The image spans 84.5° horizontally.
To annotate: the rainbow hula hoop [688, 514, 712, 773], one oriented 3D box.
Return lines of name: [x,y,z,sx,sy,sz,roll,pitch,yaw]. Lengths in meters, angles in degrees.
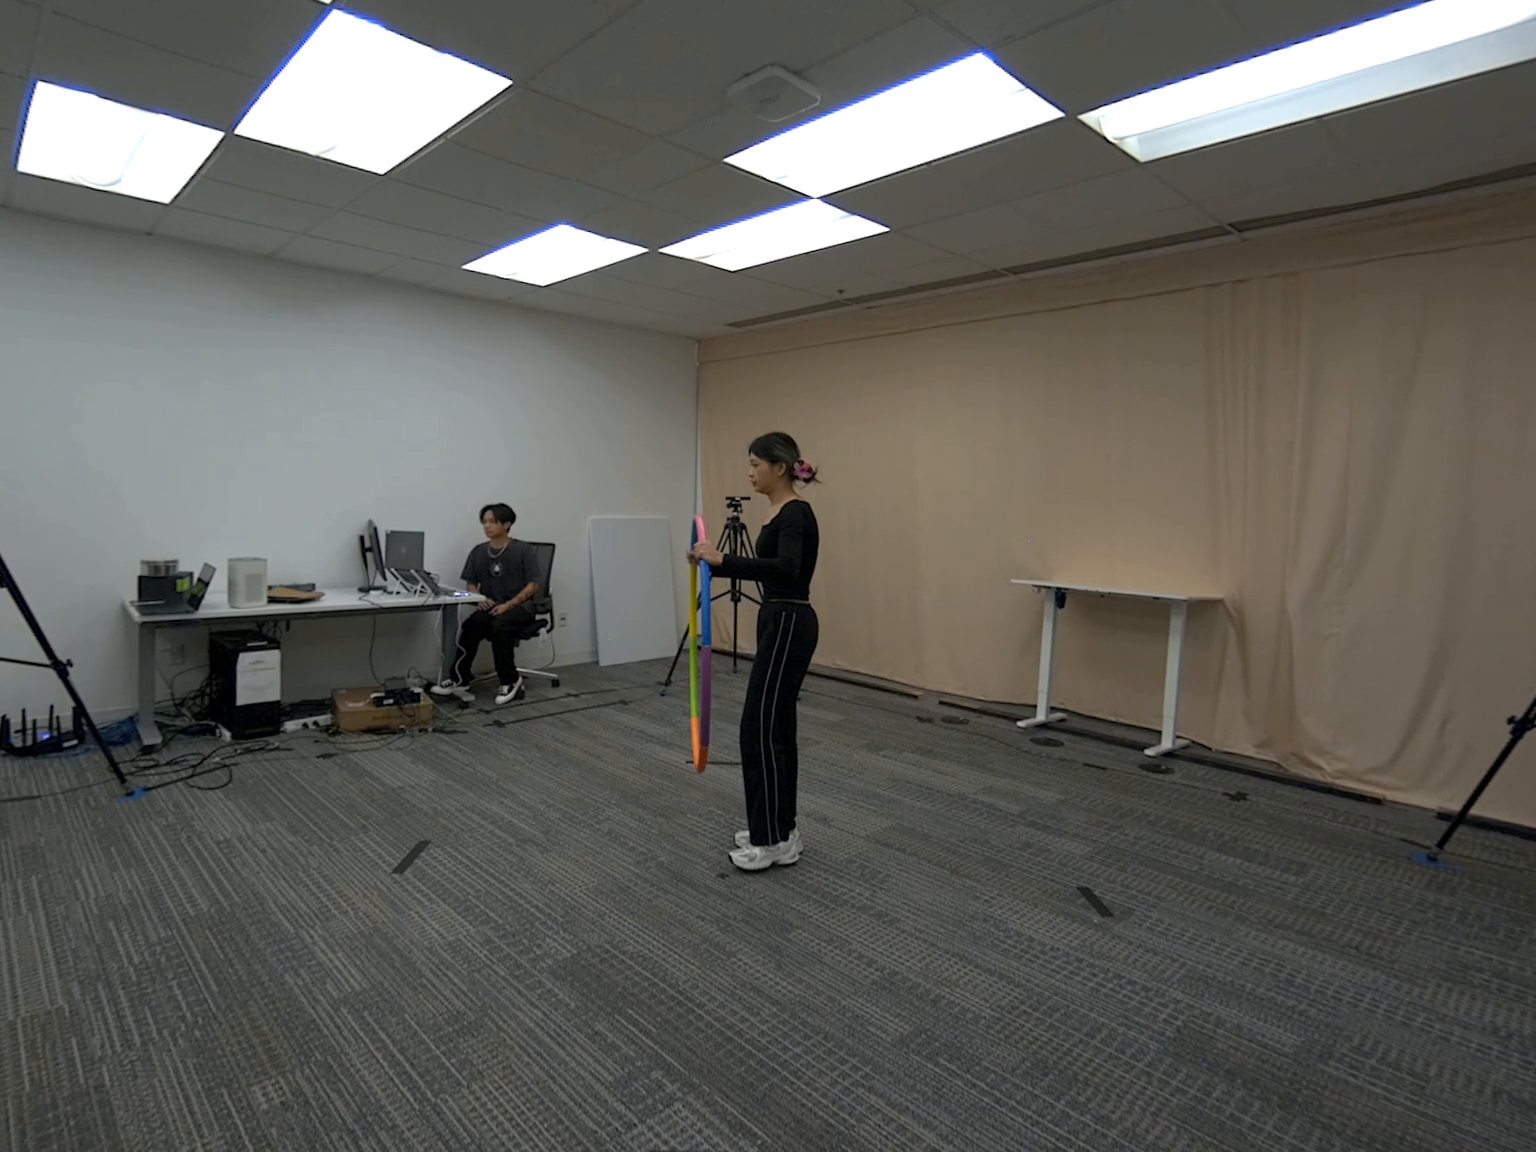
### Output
rainbow hula hoop: [-0.281,0.262,3.287,0.035,0.976,0.986,0,4,-7]
